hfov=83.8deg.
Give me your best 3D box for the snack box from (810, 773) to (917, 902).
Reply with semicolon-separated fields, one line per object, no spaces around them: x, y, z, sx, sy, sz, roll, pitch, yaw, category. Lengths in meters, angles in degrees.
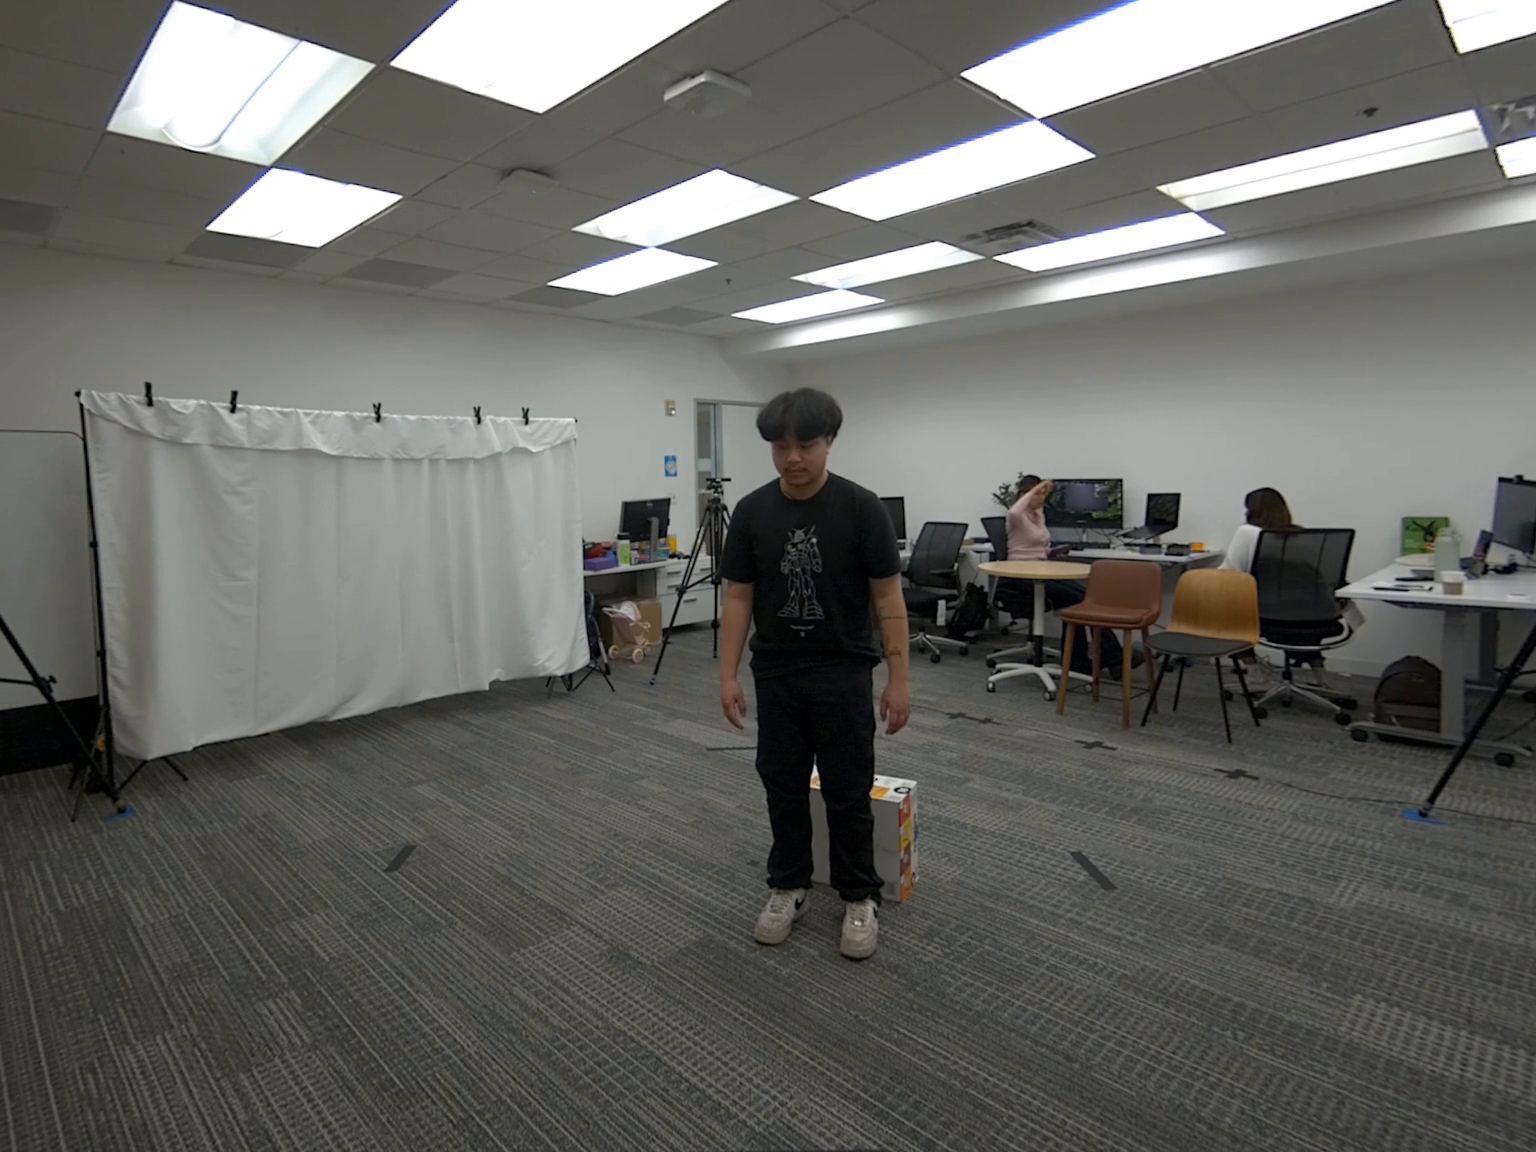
0.298;0.881;2.966;0.415;0.339;0.201;1;5;28;snack box
